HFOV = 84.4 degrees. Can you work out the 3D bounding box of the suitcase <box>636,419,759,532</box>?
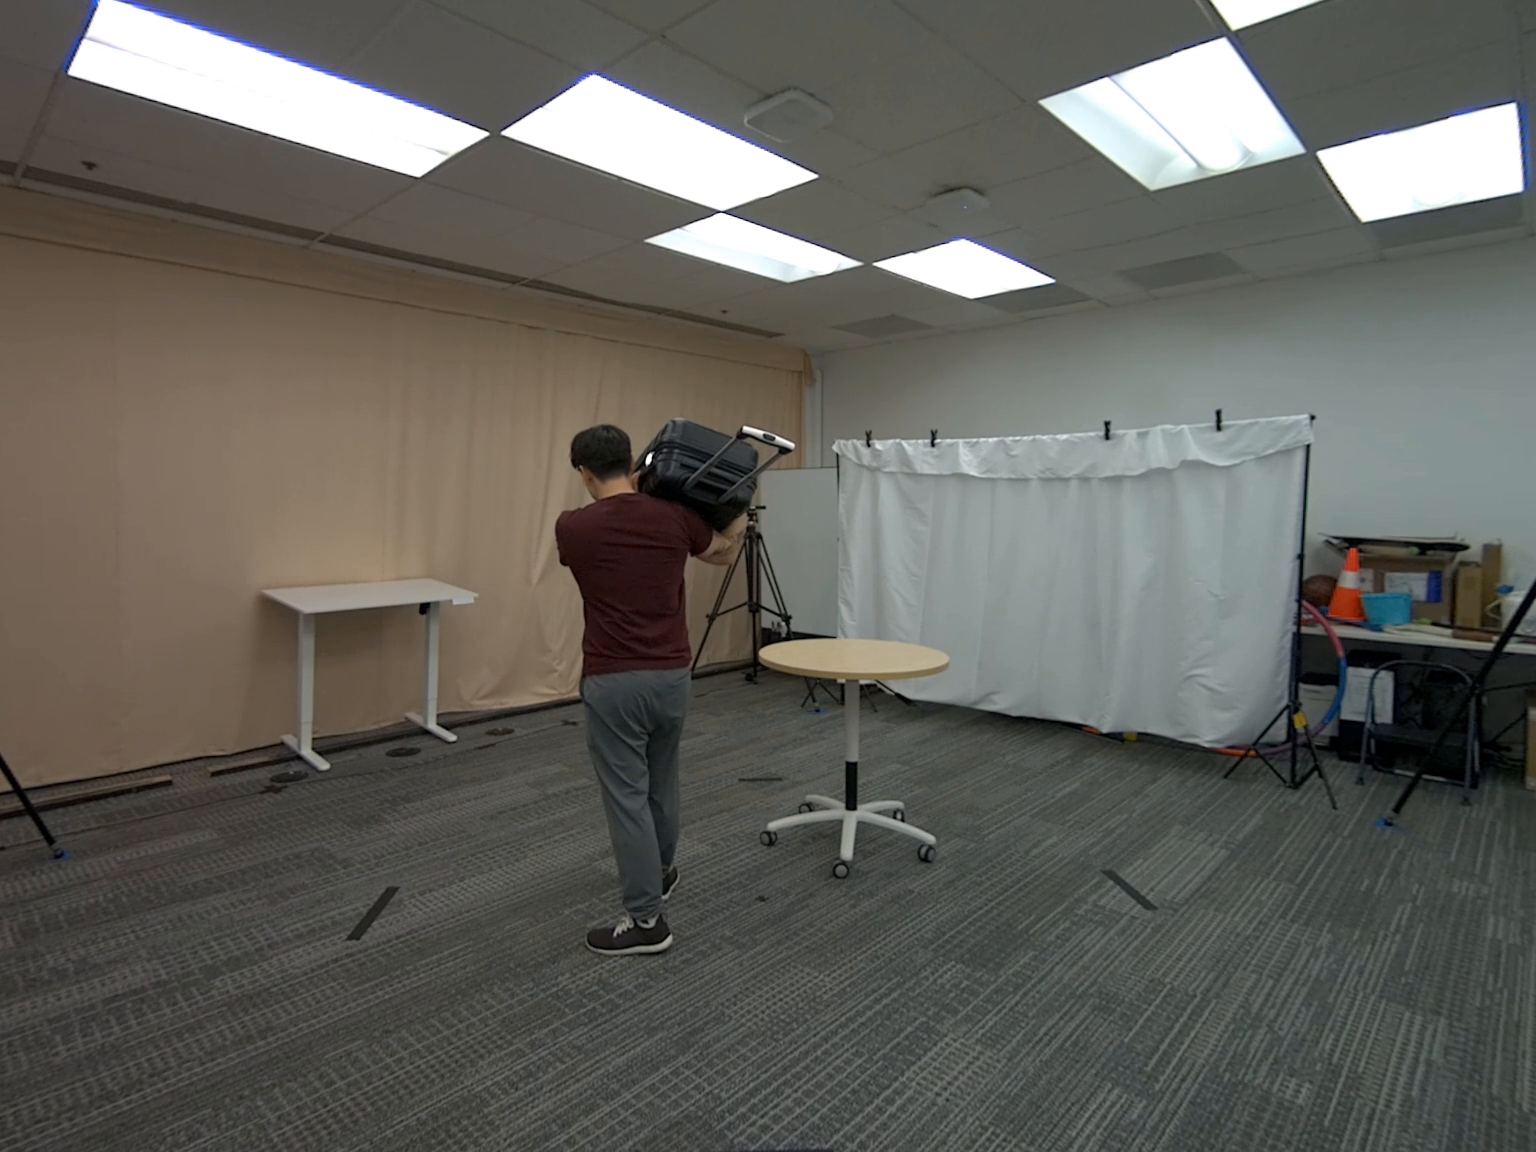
[{"bbox_3d":[-0.188,-0.367,2.765,0.375,0.259,0.992,19,-22,-20],"label":"suitcase"}]
